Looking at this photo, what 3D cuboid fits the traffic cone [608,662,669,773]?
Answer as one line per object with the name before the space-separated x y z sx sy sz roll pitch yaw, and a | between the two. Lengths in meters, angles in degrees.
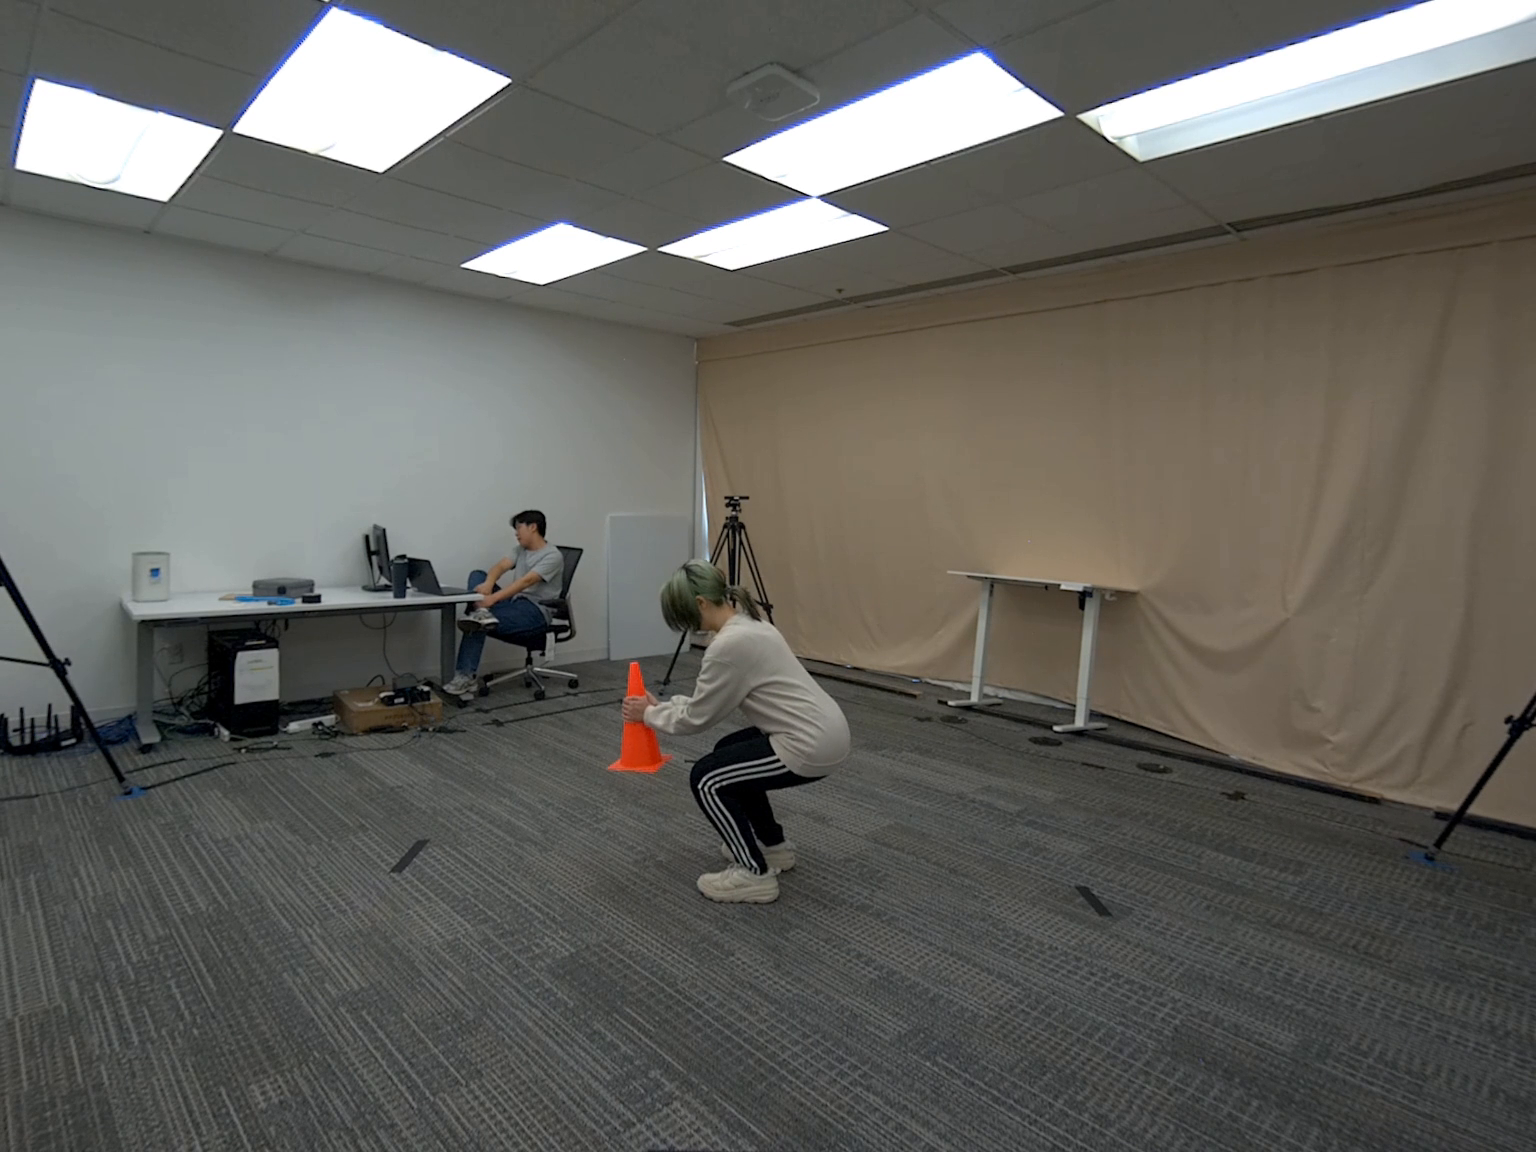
traffic cone | -0.491 0.514 3.179 0.206 0.383 0.202 -2 2 22
